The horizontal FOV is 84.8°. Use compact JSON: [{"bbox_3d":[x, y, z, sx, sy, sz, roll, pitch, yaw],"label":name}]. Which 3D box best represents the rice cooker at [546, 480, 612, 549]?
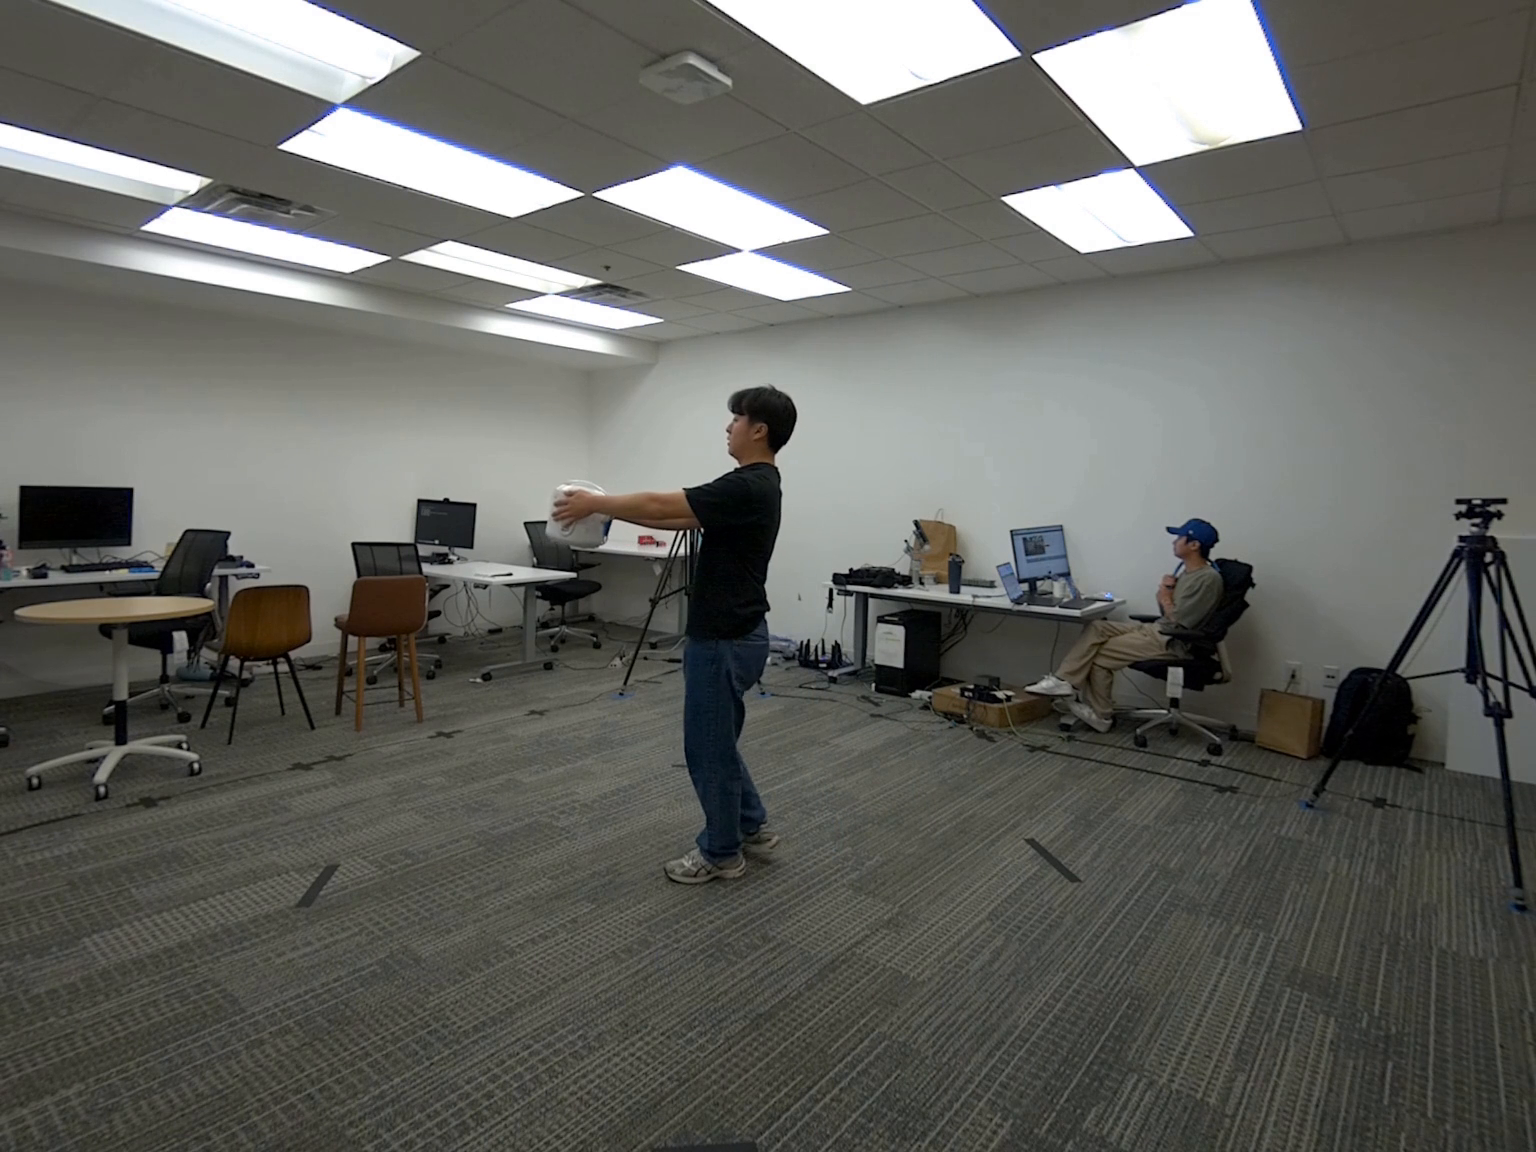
[{"bbox_3d":[-0.684,-0.231,3.057,0.223,0.232,0.215,12,4,9],"label":"rice cooker"}]
